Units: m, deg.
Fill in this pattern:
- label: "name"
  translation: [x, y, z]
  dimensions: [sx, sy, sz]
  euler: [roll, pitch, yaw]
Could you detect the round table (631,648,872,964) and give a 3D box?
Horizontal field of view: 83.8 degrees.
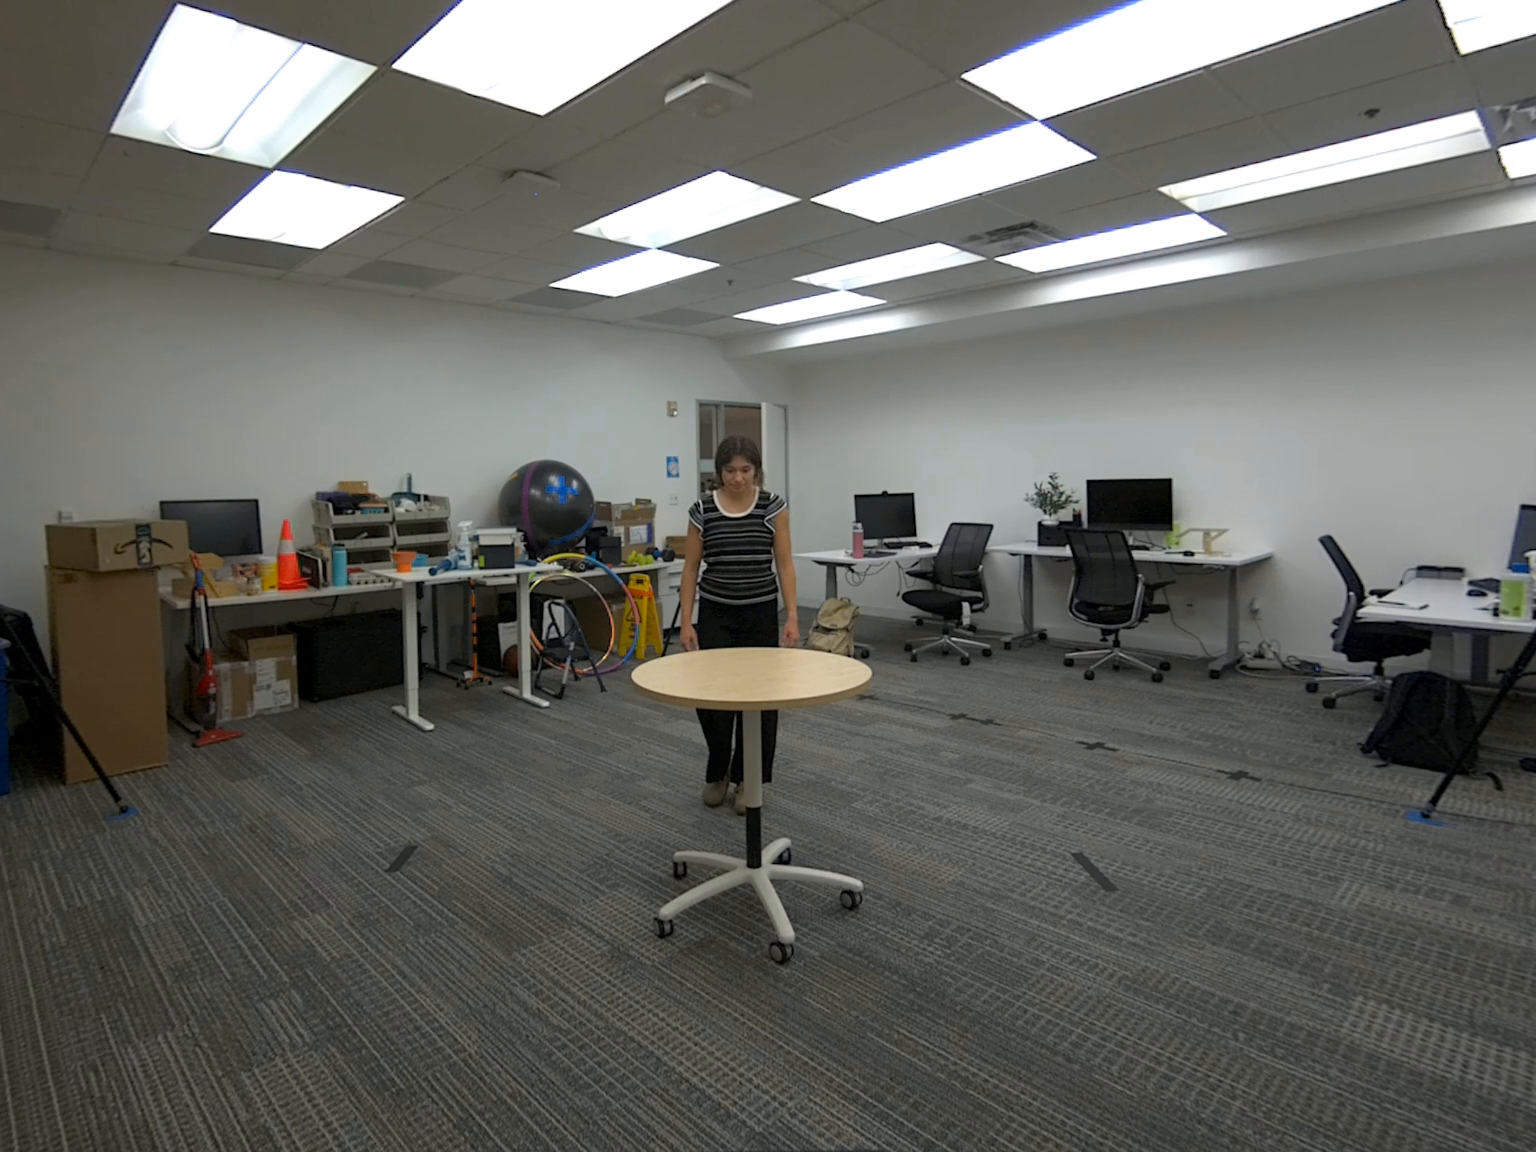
- label: "round table"
  translation: [-0.055, 0.702, 2.765]
  dimensions: [0.763, 0.791, 0.768]
  euler: [-1, 5, -2]
